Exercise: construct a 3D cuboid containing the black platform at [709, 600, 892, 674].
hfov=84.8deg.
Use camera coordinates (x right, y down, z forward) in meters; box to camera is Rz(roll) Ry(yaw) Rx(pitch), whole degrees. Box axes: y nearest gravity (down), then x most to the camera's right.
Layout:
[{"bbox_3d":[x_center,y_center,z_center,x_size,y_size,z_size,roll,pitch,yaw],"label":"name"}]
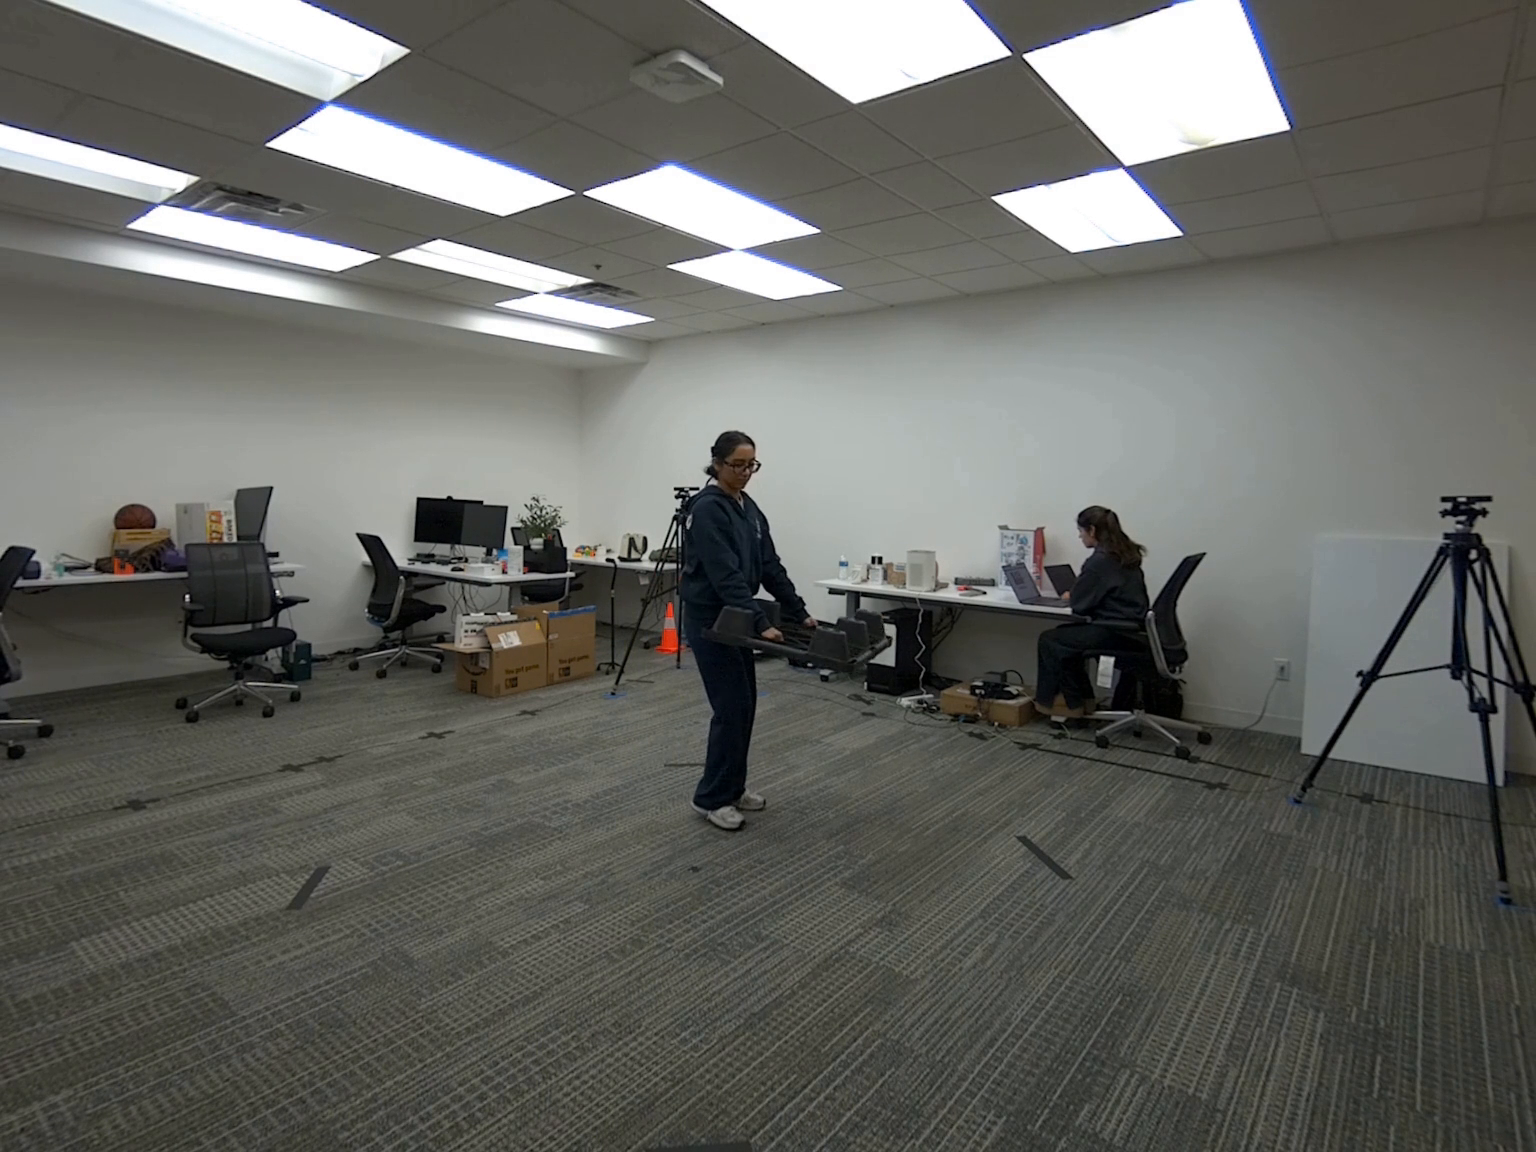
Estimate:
[{"bbox_3d":[0.142,0.211,3.506,0.620,0.142,0.791,12,8,19],"label":"black platform"}]
